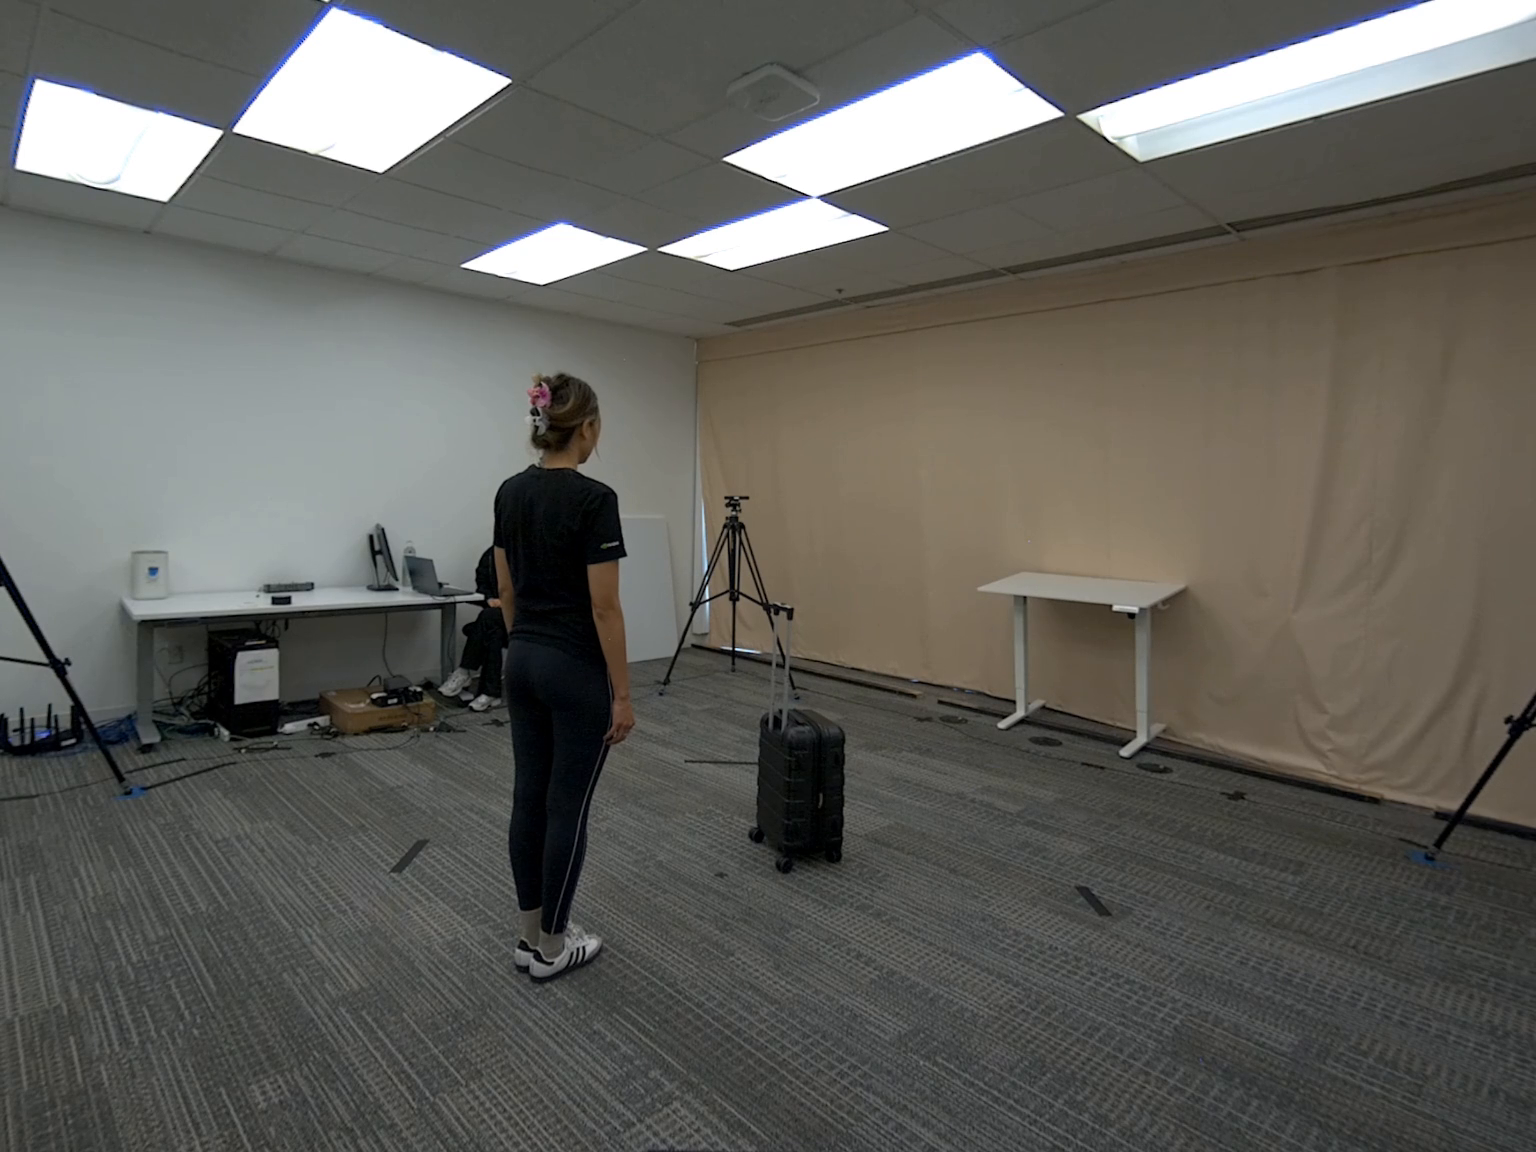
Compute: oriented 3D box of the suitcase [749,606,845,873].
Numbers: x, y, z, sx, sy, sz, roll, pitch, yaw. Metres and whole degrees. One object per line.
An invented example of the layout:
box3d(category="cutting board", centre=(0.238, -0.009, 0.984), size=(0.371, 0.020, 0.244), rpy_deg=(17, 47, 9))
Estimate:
box3d(category="suitcase", centre=(0.134, 0.611, 3.312), size=(0.253, 0.977, 0.390), rpy_deg=(3, 2, -18))
